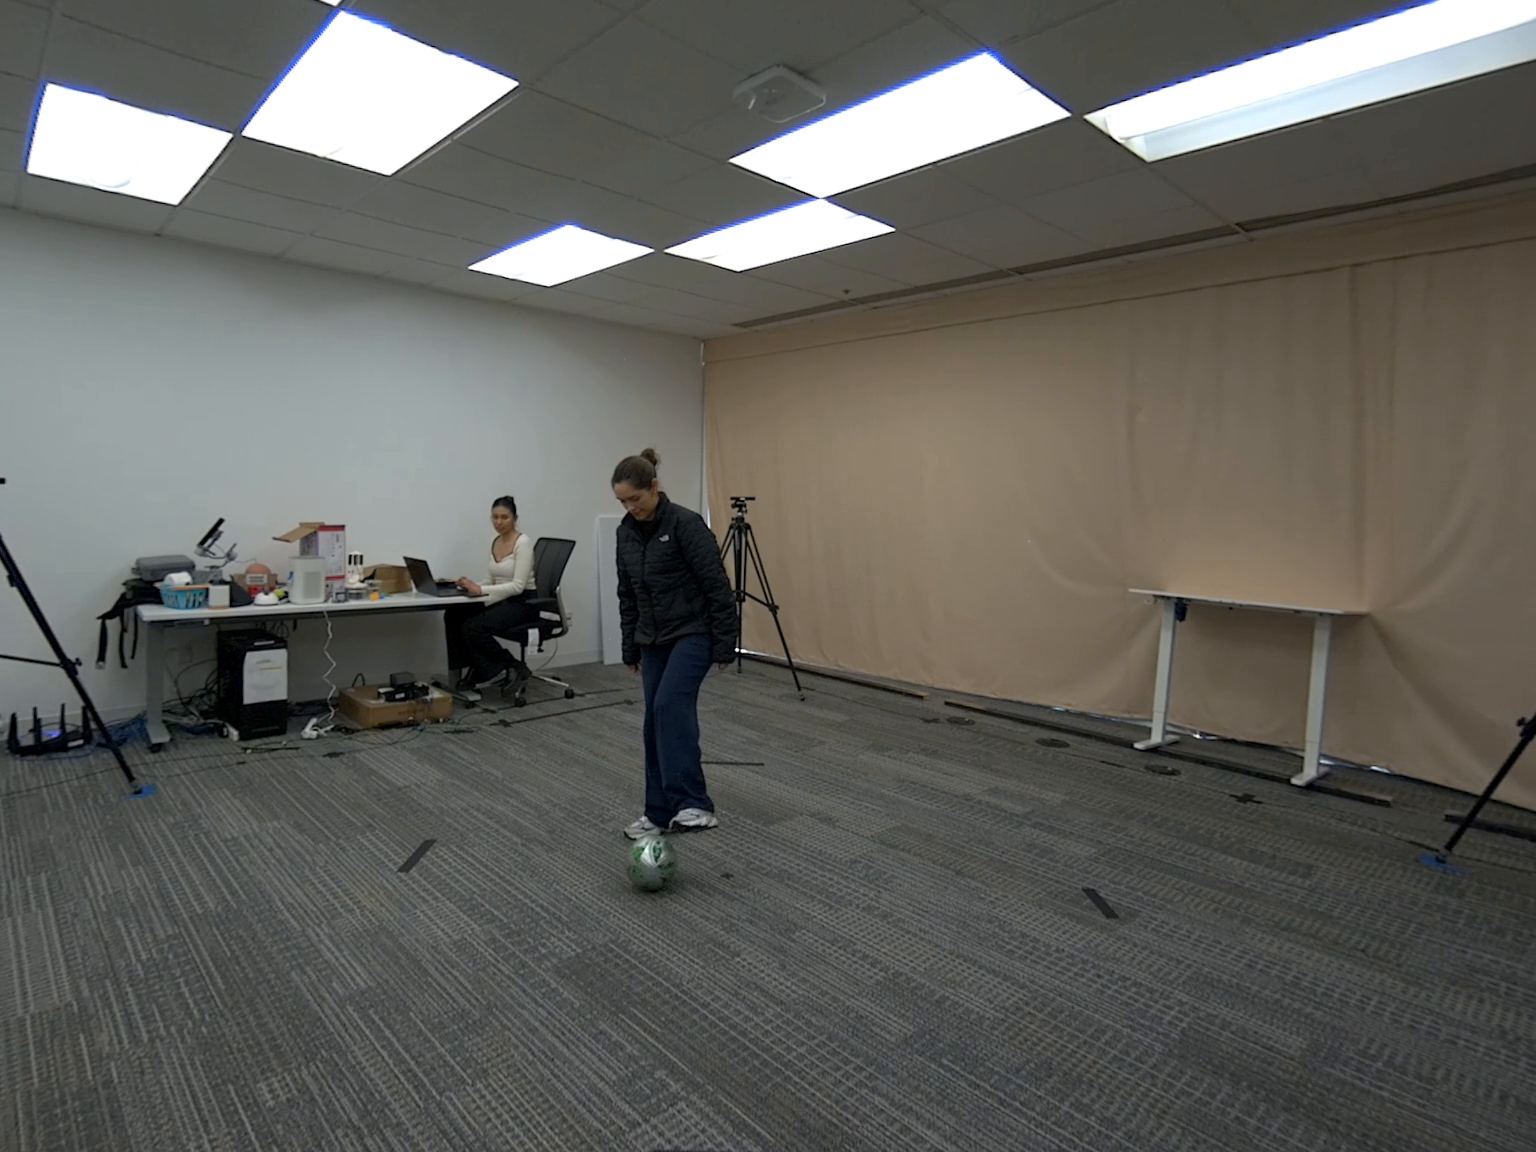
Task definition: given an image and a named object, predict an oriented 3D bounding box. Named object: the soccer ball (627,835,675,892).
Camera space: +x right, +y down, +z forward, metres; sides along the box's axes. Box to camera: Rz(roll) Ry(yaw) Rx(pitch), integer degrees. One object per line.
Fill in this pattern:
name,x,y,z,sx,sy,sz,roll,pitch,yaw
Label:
soccer ball,-0.429,1.017,2.986,0.187,0.187,0.188,1,4,-1
